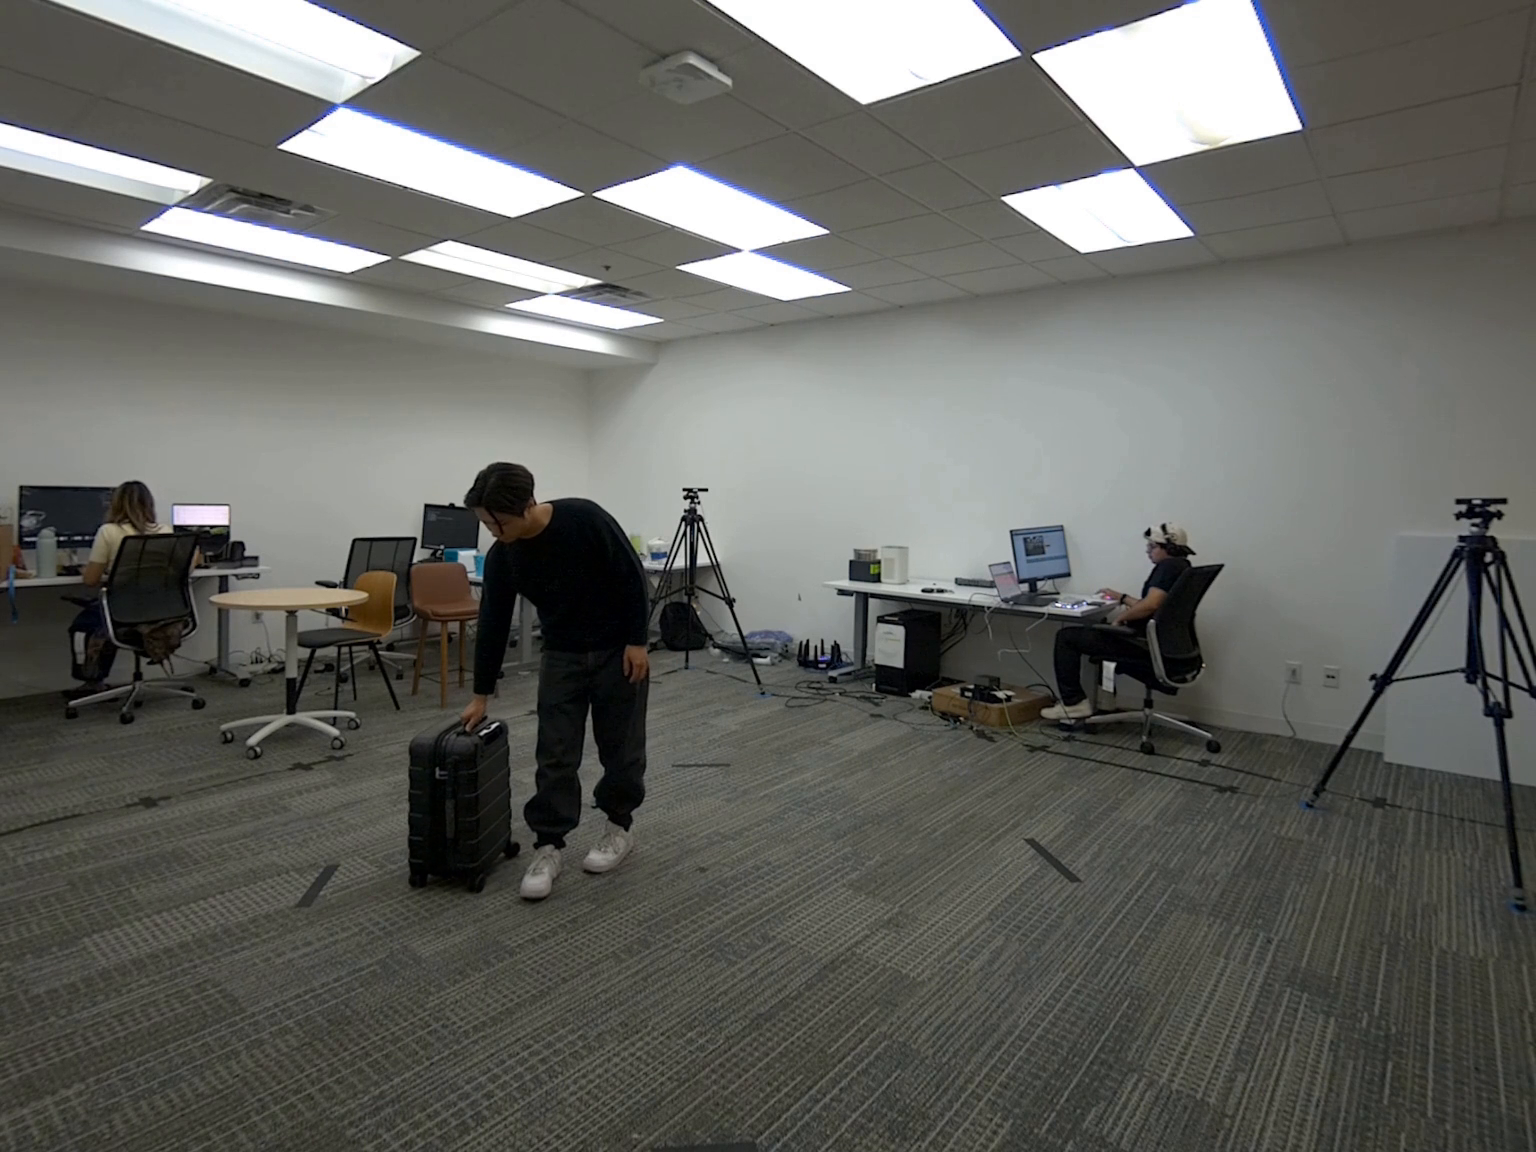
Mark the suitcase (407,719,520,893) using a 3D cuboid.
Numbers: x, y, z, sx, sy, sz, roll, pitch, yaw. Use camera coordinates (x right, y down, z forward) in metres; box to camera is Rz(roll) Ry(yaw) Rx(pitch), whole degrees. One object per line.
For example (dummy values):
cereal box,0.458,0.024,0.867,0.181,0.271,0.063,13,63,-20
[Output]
suitcase,-1.106,0.786,3.040,0.251,0.547,0.373,0,4,8
